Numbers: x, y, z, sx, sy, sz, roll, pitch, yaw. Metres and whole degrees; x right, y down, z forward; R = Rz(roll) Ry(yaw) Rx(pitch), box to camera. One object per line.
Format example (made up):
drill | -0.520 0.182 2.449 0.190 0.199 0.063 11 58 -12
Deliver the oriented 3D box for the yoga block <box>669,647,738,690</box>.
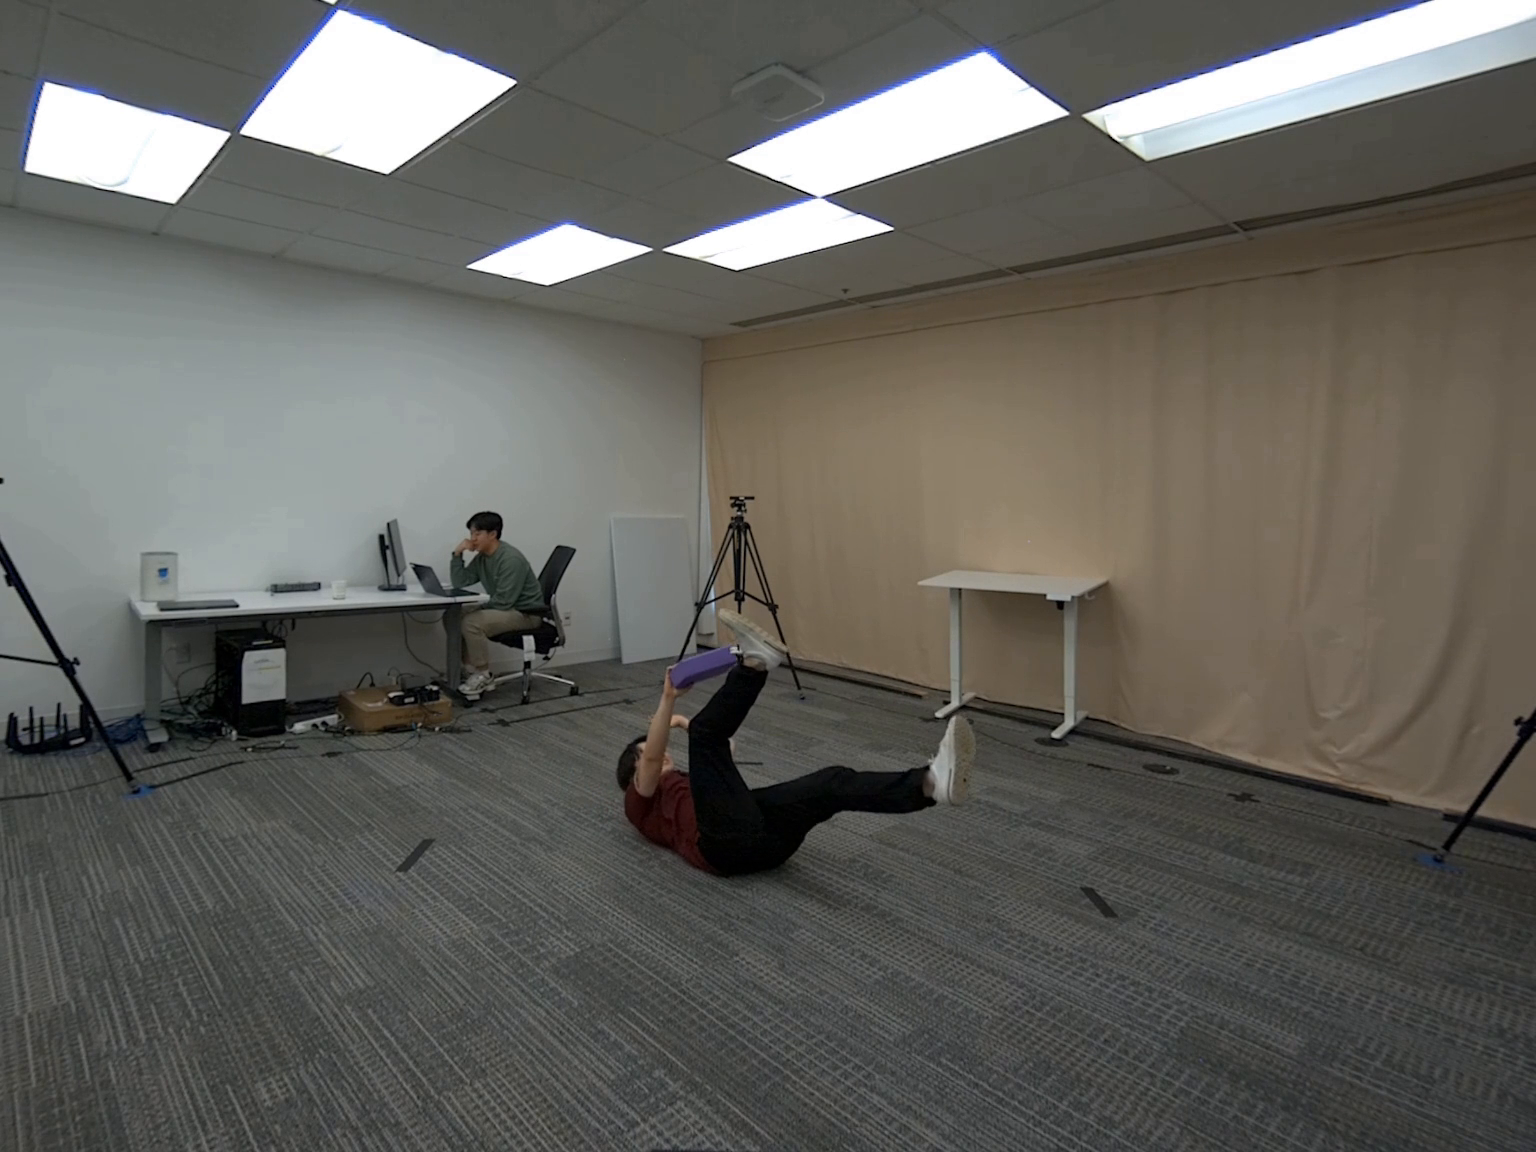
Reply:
yoga block | -0.257 0.352 3.250 0.226 0.077 0.149 -15 -17 -33
